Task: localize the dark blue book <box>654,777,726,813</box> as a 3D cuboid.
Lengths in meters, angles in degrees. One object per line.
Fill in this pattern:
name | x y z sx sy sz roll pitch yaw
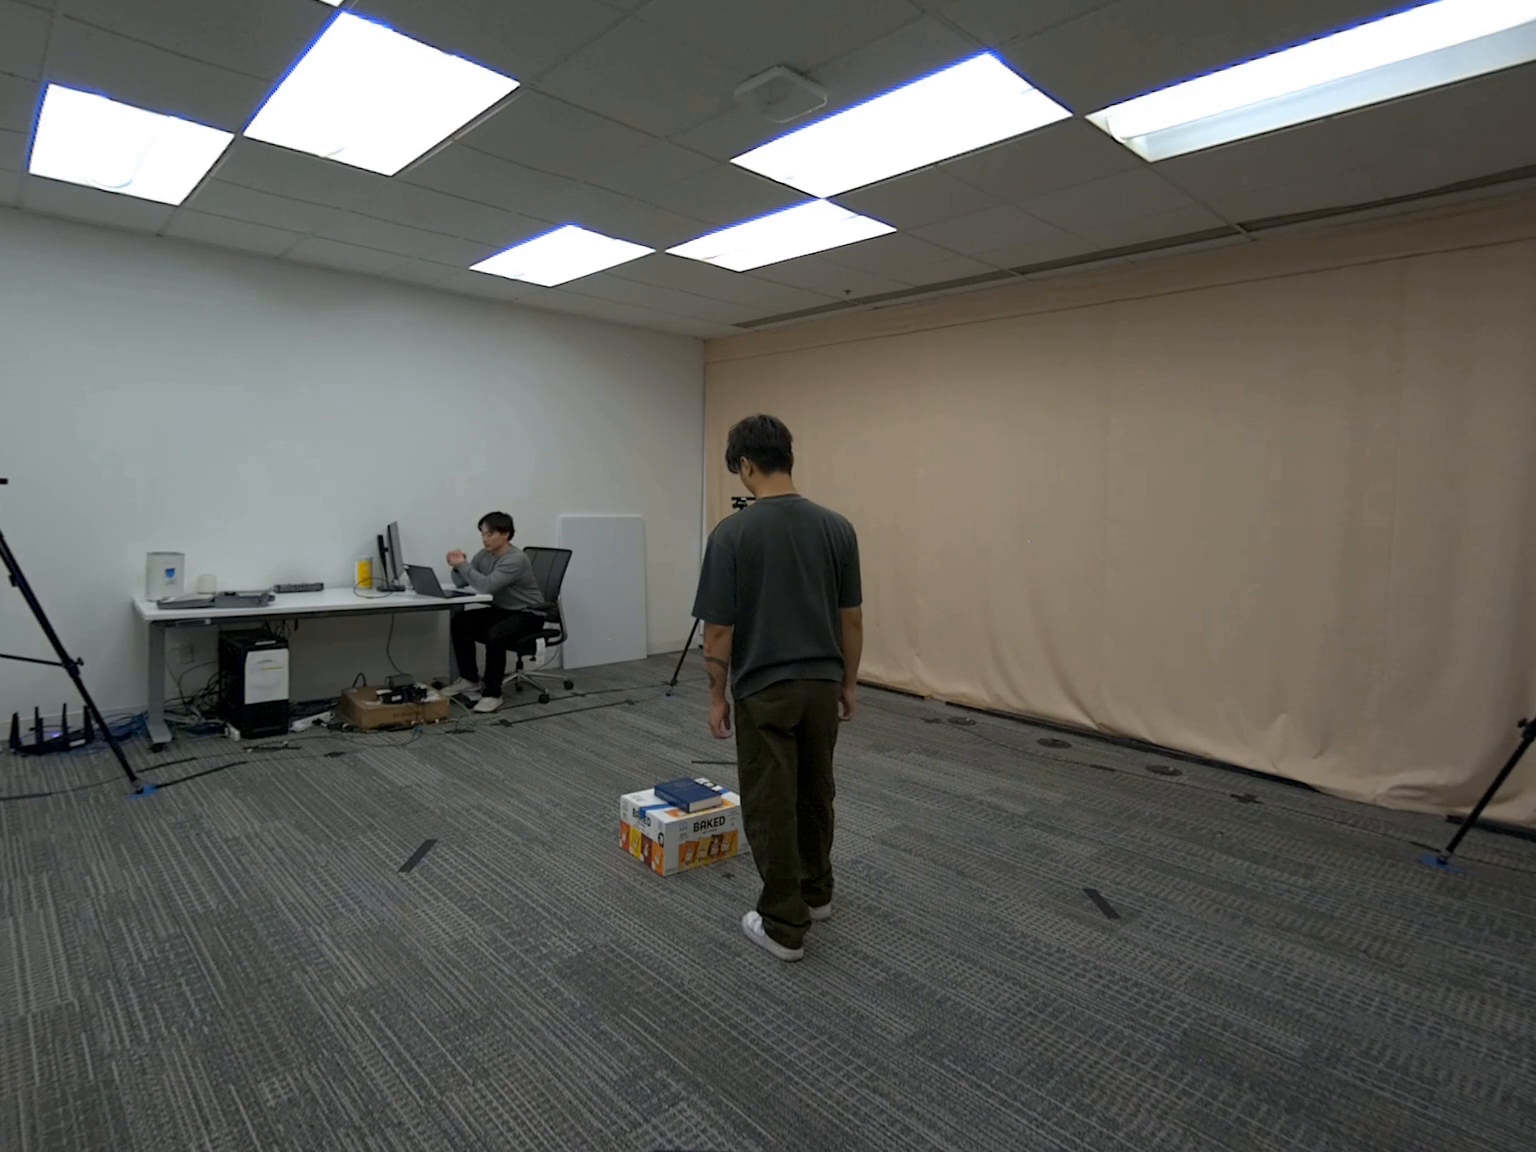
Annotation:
dark blue book | -0.328 0.869 3.330 0.160 0.045 0.251 -3 6 -39
